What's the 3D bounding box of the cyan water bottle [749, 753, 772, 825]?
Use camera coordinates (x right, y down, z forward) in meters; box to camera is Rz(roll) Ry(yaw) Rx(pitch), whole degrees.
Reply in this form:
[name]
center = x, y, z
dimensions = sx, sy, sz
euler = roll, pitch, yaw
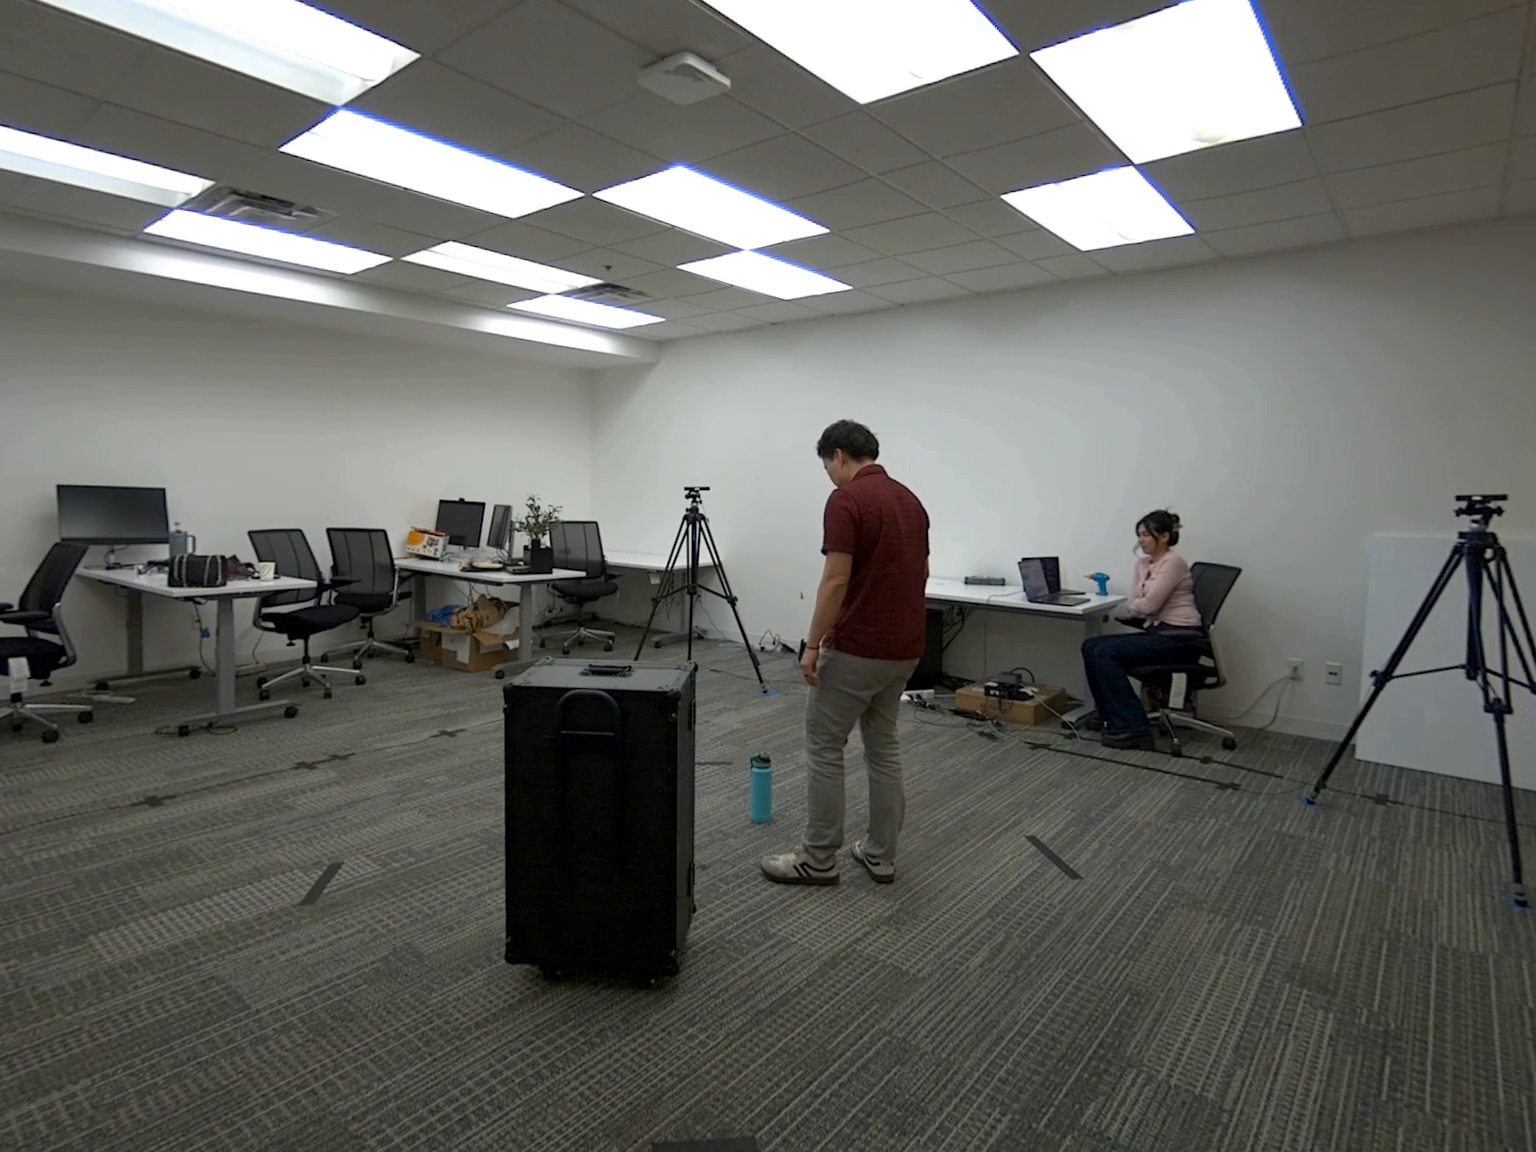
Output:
[cyan water bottle]
center = -0.039, 0.882, 3.577
dimensions = 0.092, 0.282, 0.093
euler = 0, 4, -2
